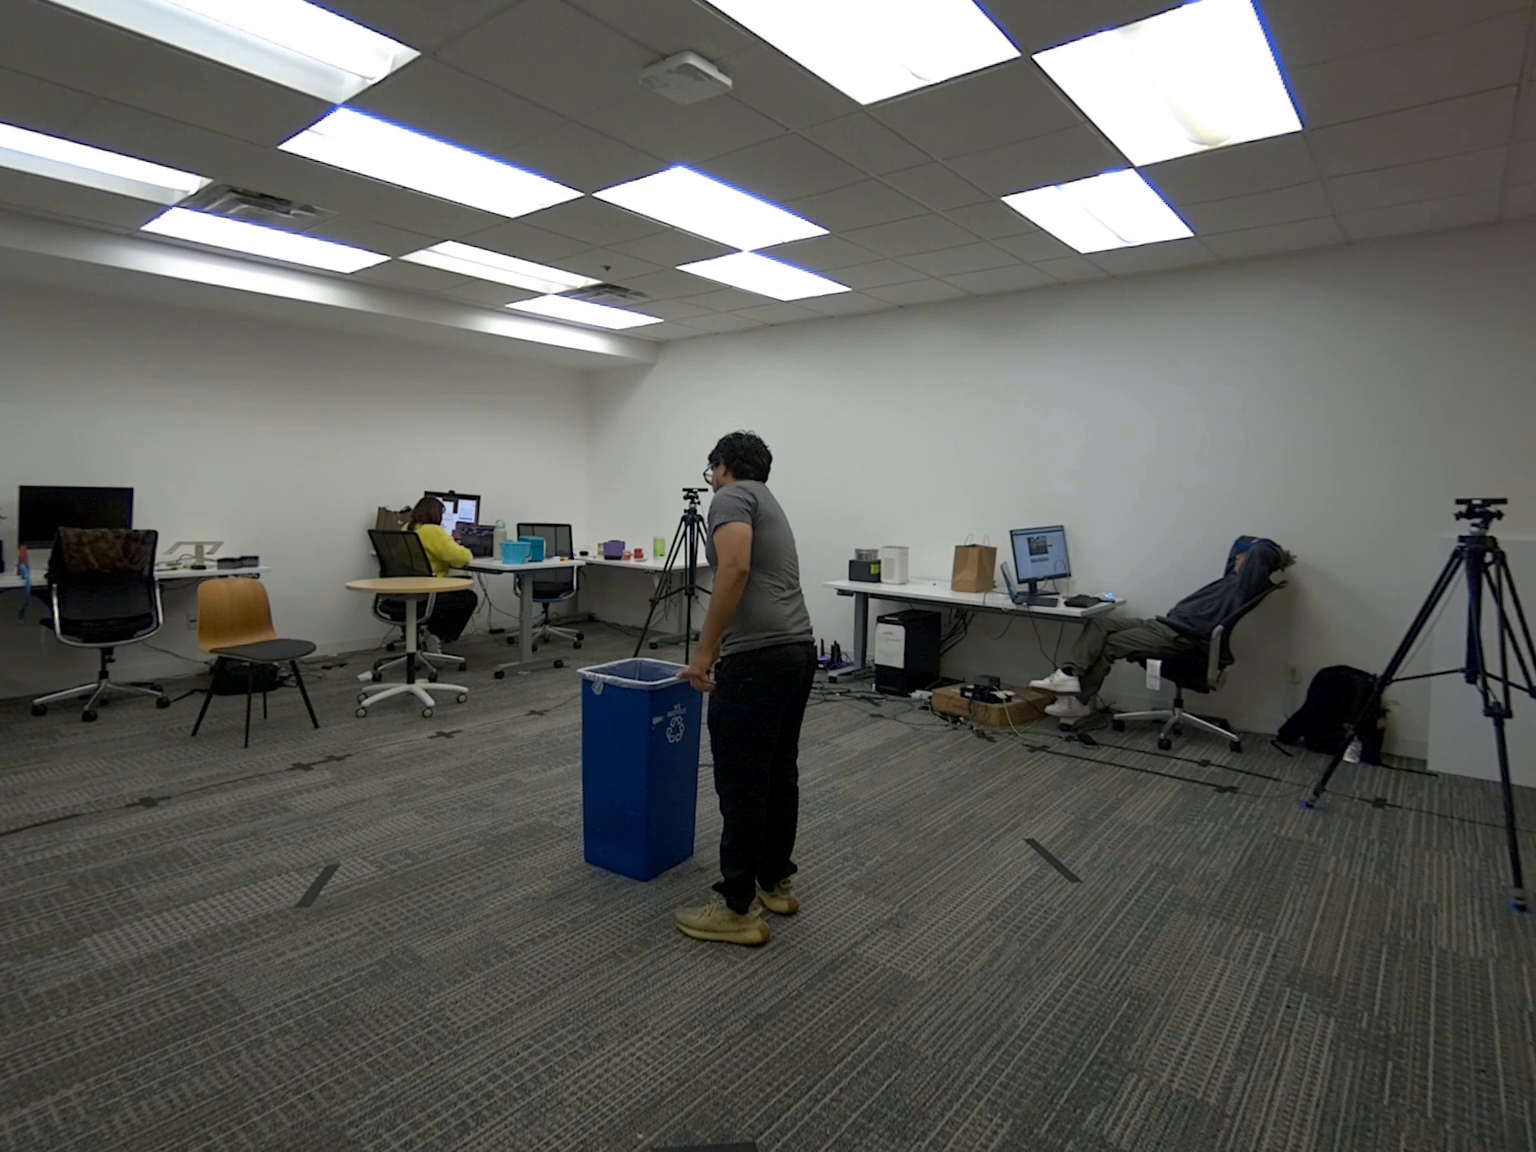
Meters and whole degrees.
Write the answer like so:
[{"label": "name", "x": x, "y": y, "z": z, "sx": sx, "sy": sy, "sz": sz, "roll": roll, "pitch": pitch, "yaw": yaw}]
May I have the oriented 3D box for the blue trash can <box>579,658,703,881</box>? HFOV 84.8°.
[{"label": "blue trash can", "x": -0.483, "y": 0.698, "z": 3.191, "sx": 0.390, "sy": 0.712, "sz": 0.364, "roll": 3, "pitch": 4, "yaw": 33}]
